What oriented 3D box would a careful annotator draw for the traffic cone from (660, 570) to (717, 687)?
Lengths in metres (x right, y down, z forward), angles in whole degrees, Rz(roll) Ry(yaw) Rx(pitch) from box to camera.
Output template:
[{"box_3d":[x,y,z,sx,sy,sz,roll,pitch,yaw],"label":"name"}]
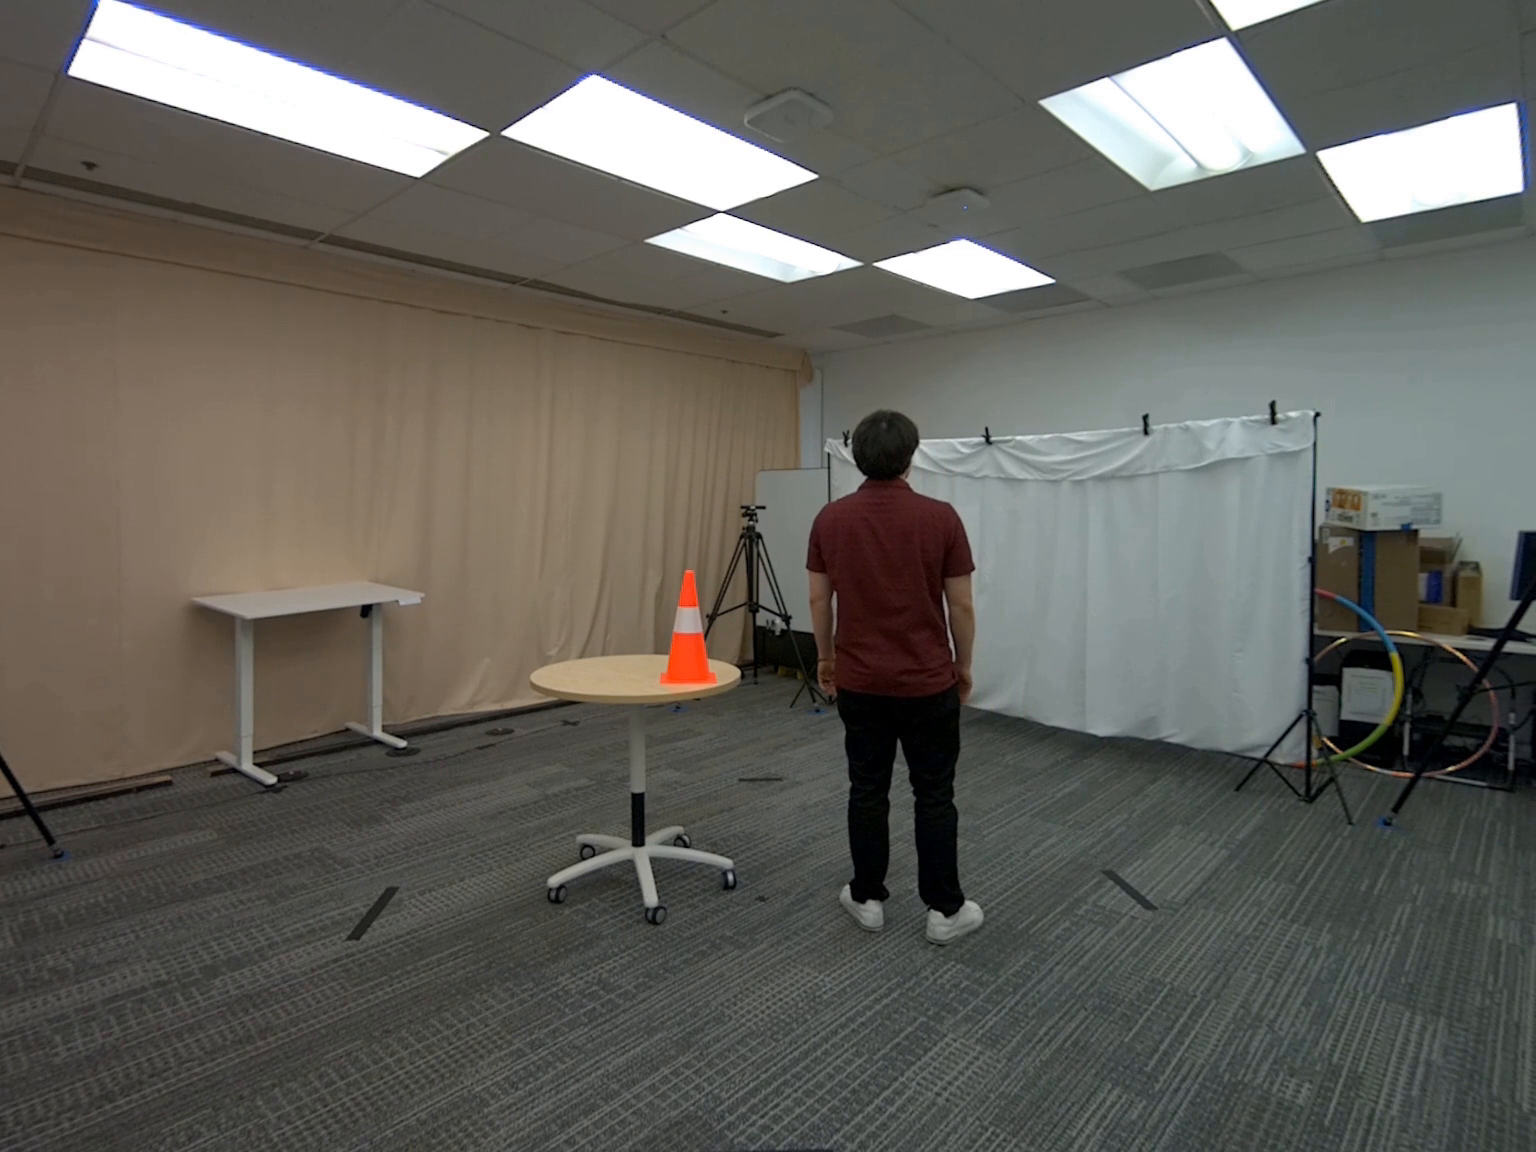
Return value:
[{"box_3d":[-0.276,0.173,2.972,0.203,0.383,0.206,4,5,-11],"label":"traffic cone"}]
